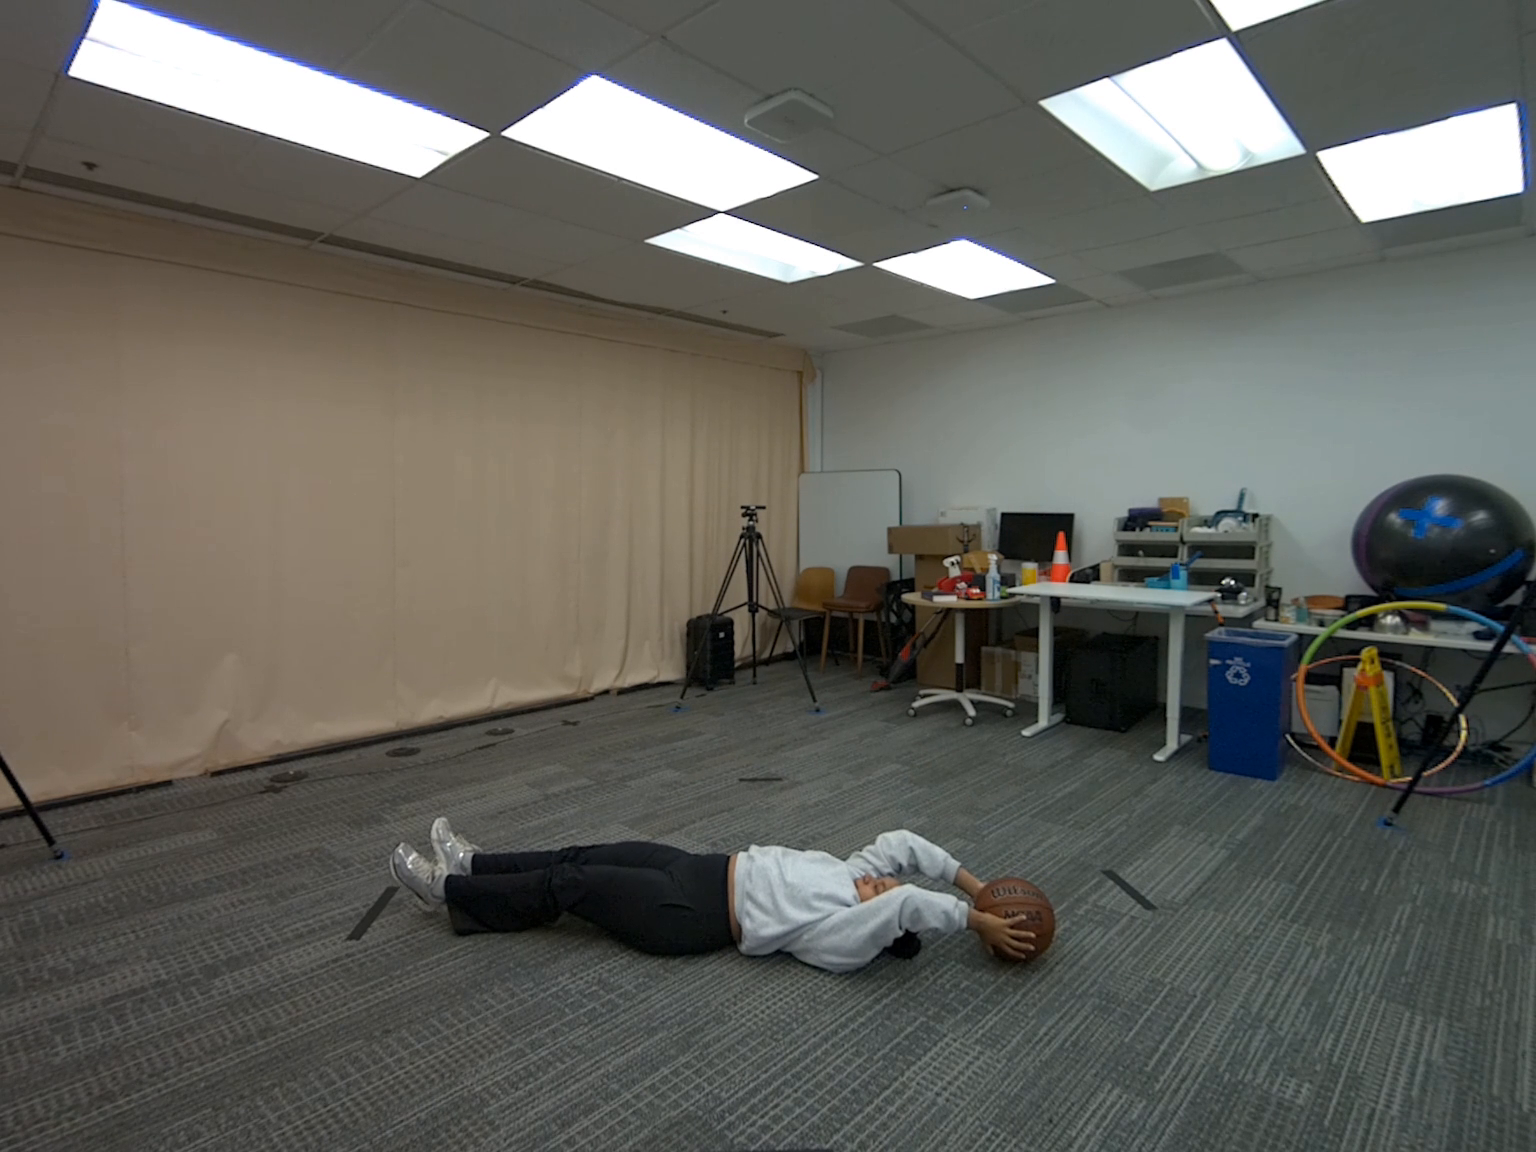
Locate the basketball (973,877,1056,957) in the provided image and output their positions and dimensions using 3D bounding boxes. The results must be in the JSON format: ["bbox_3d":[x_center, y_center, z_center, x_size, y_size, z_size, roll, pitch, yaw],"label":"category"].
[{"bbox_3d":[0.765,1.053,2.586,0.235,0.235,0.237,1,4,-2],"label":"basketball"}]
